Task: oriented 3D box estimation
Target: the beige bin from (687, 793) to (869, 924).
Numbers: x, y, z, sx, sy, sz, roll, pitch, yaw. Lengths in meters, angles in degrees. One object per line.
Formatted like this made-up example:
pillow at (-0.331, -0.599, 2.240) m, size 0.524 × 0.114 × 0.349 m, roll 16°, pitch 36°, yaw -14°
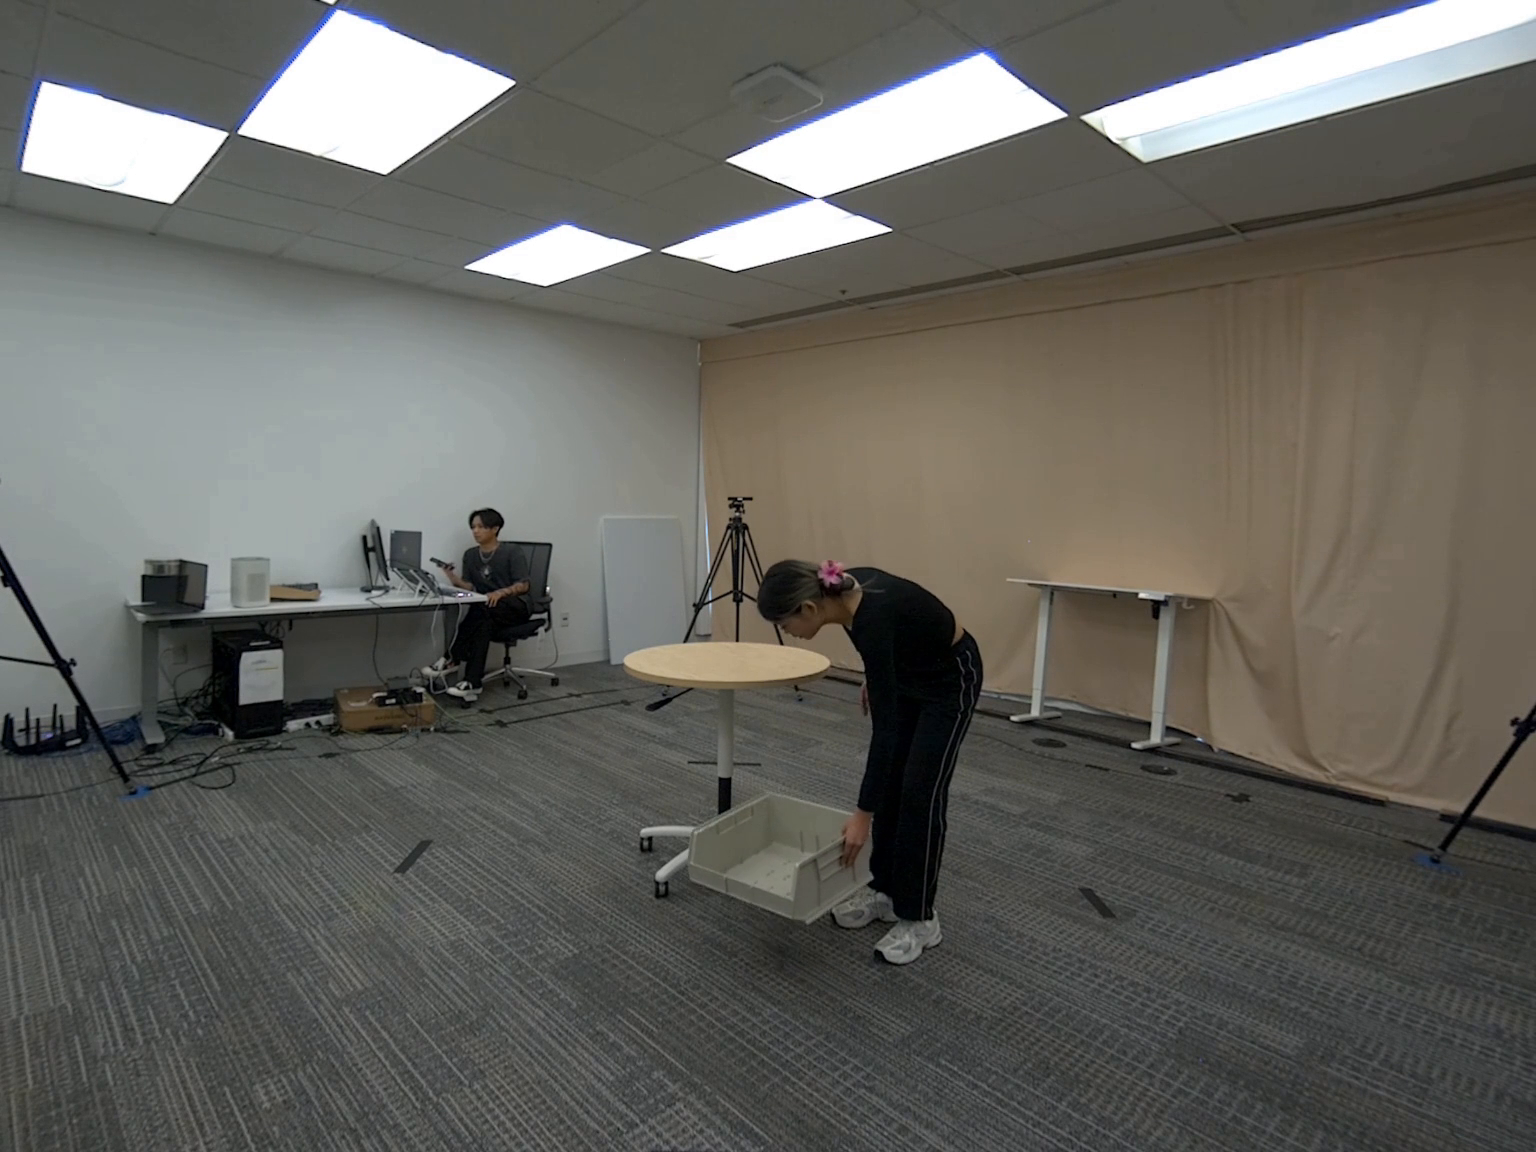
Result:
beige bin at (0.036, 0.830, 2.499) m, size 0.432 × 0.188 × 0.370 m, roll 1°, pitch 8°, yaw 43°
